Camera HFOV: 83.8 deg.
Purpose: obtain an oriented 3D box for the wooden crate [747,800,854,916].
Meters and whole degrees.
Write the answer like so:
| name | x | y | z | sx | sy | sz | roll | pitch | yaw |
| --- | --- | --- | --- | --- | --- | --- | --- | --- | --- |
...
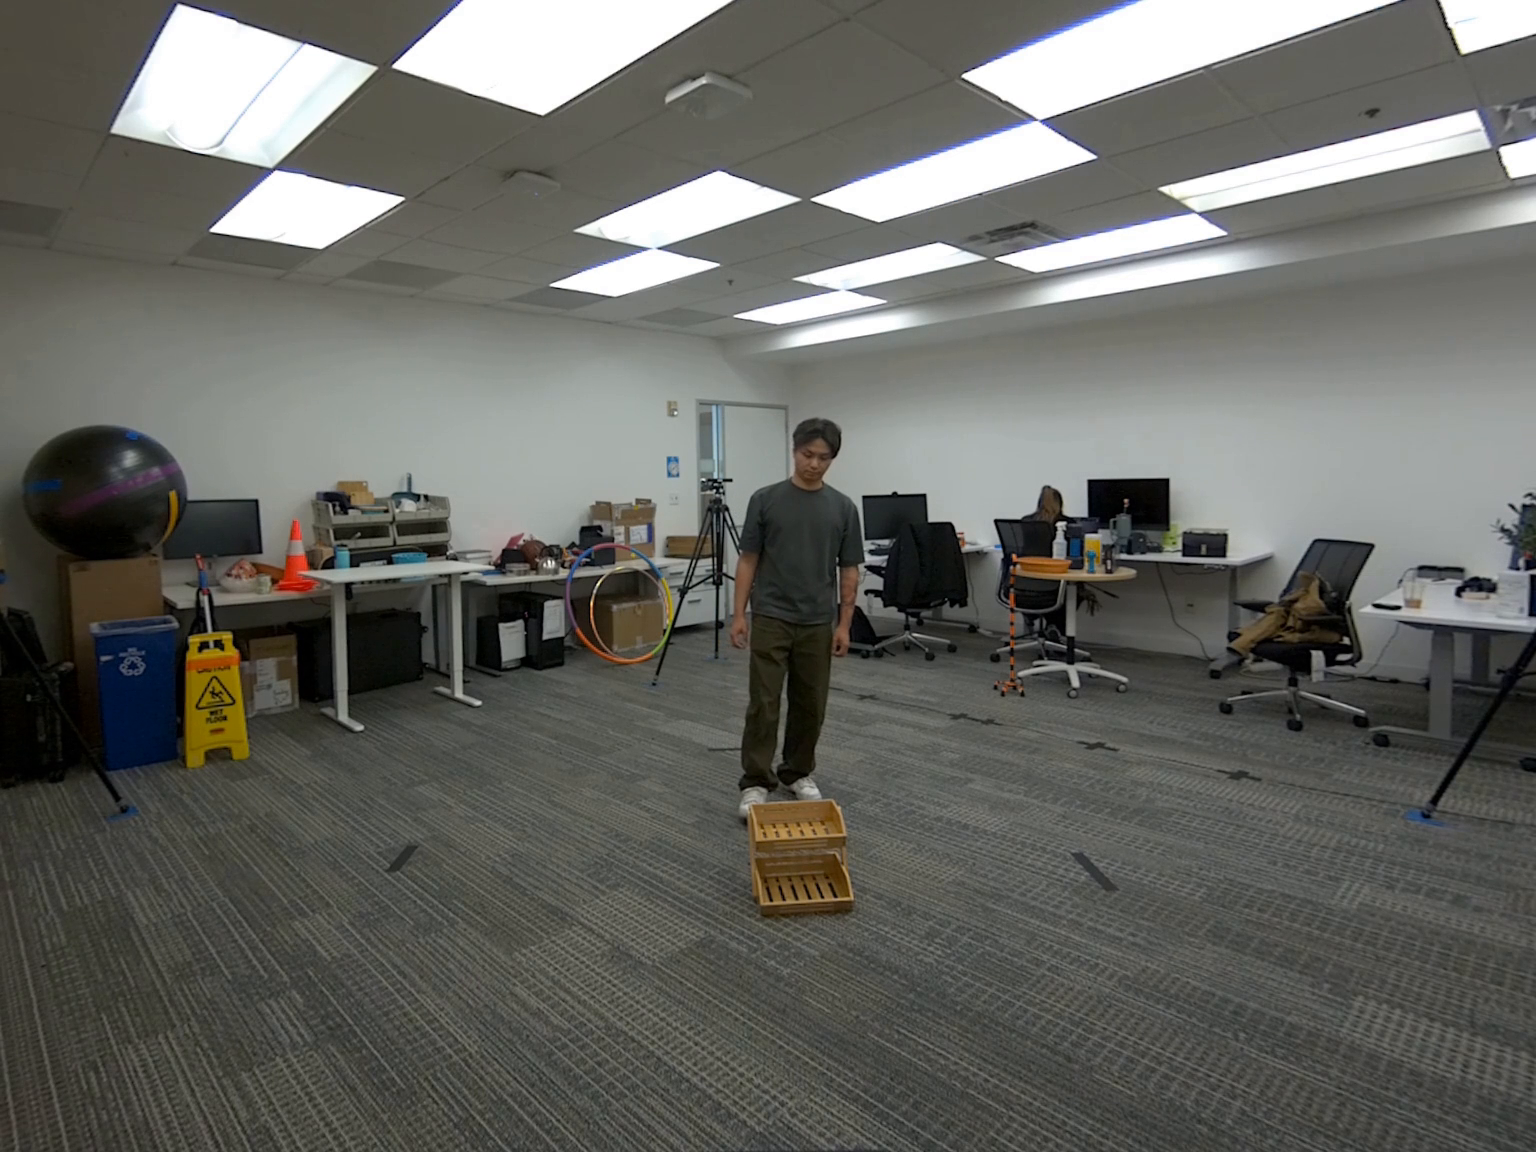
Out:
| name | x | y | z | sx | sy | sz | roll | pitch | yaw |
| --- | --- | --- | --- | --- | --- | --- | --- | --- | --- |
| wooden crate | 0.106 | 0.936 | 2.858 | 0.322 | 0.272 | 0.305 | -2 | 5 | -7 |
